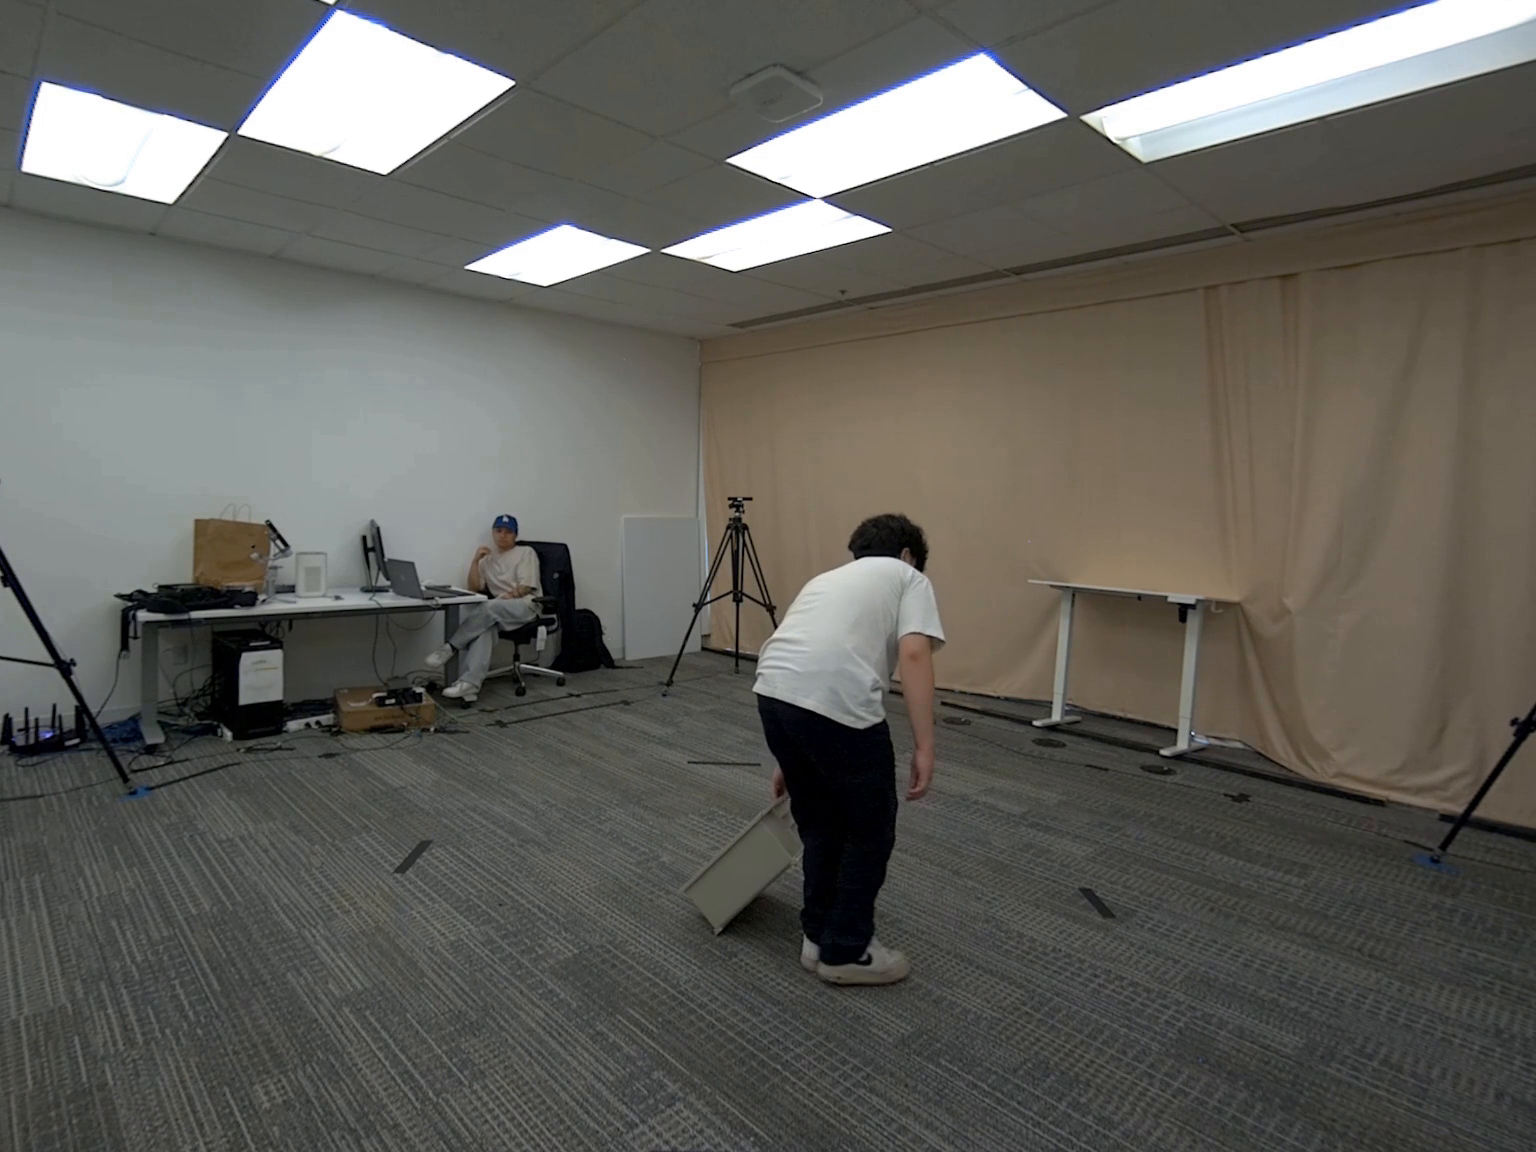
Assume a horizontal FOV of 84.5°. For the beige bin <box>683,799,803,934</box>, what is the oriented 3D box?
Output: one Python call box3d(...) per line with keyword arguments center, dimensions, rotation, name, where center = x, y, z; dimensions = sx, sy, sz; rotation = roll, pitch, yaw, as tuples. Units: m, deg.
box3d(center=(-0.034, 0.925, 2.787), dimensions=(0.192, 0.422, 0.372), rotation=(48, 20, 12), name="beige bin")
